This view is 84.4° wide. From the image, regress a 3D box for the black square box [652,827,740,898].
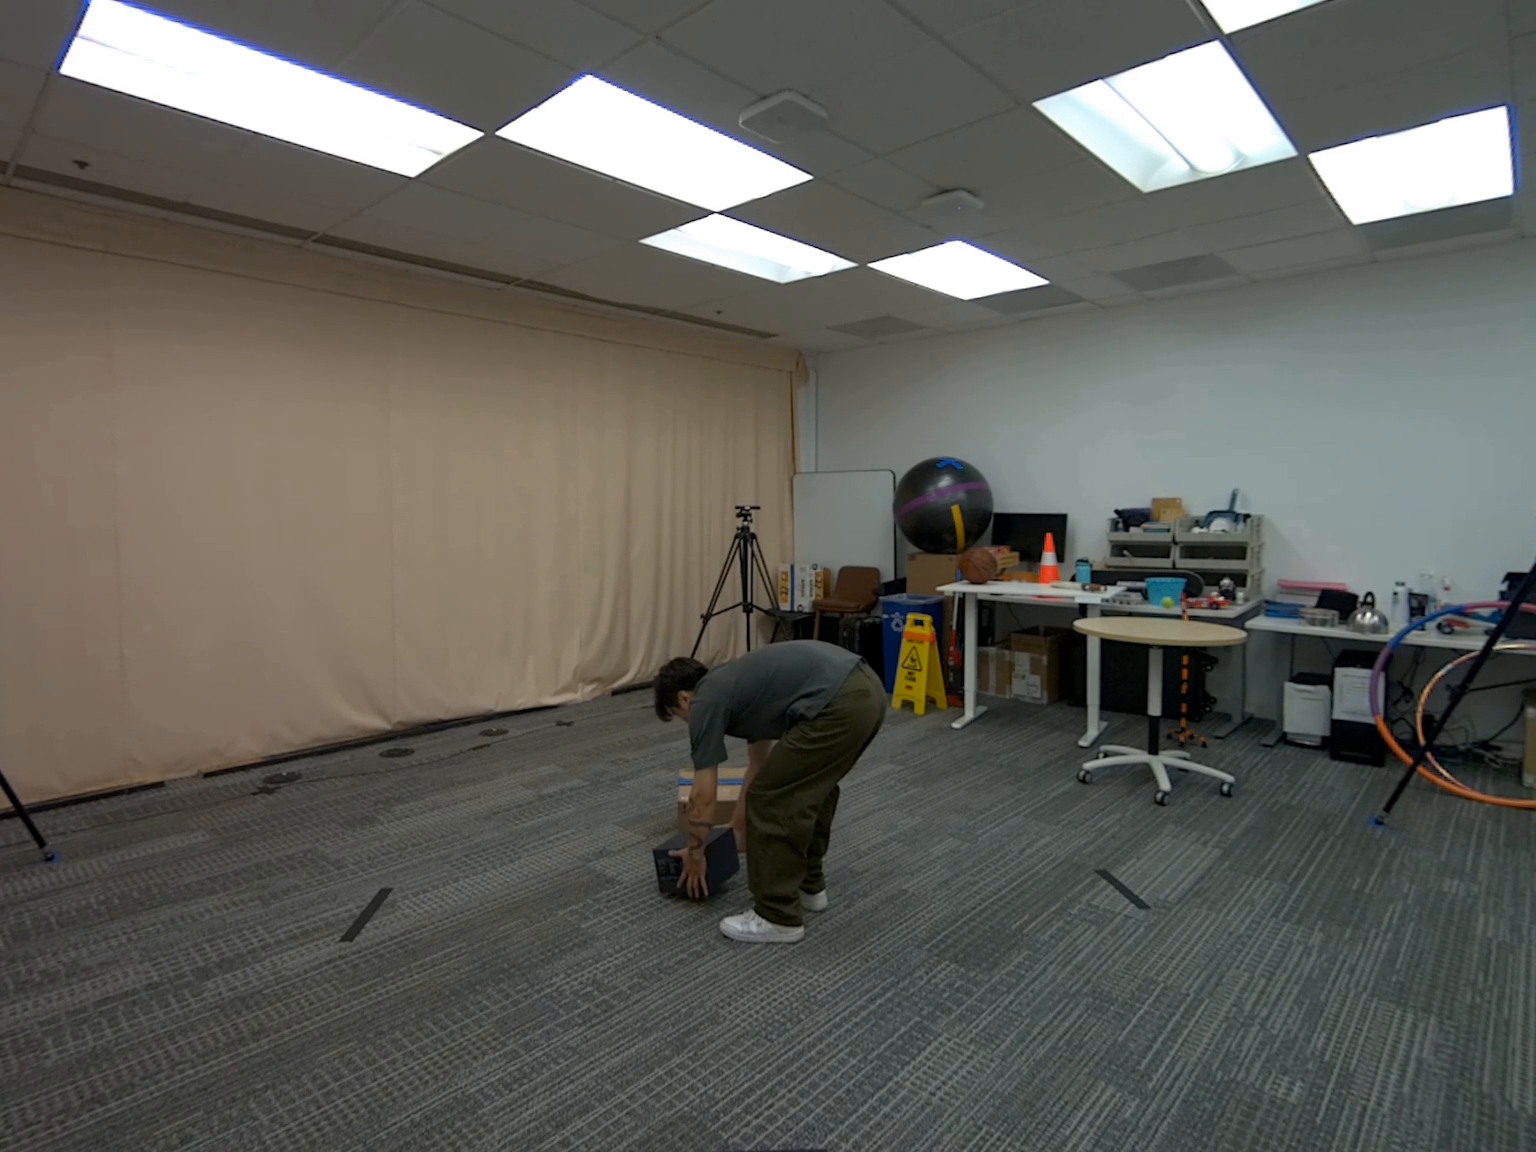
[{"bbox_3d":[-0.257,1.025,3.047,0.222,0.156,0.222,-11,-2,27],"label":"black square box"}]
